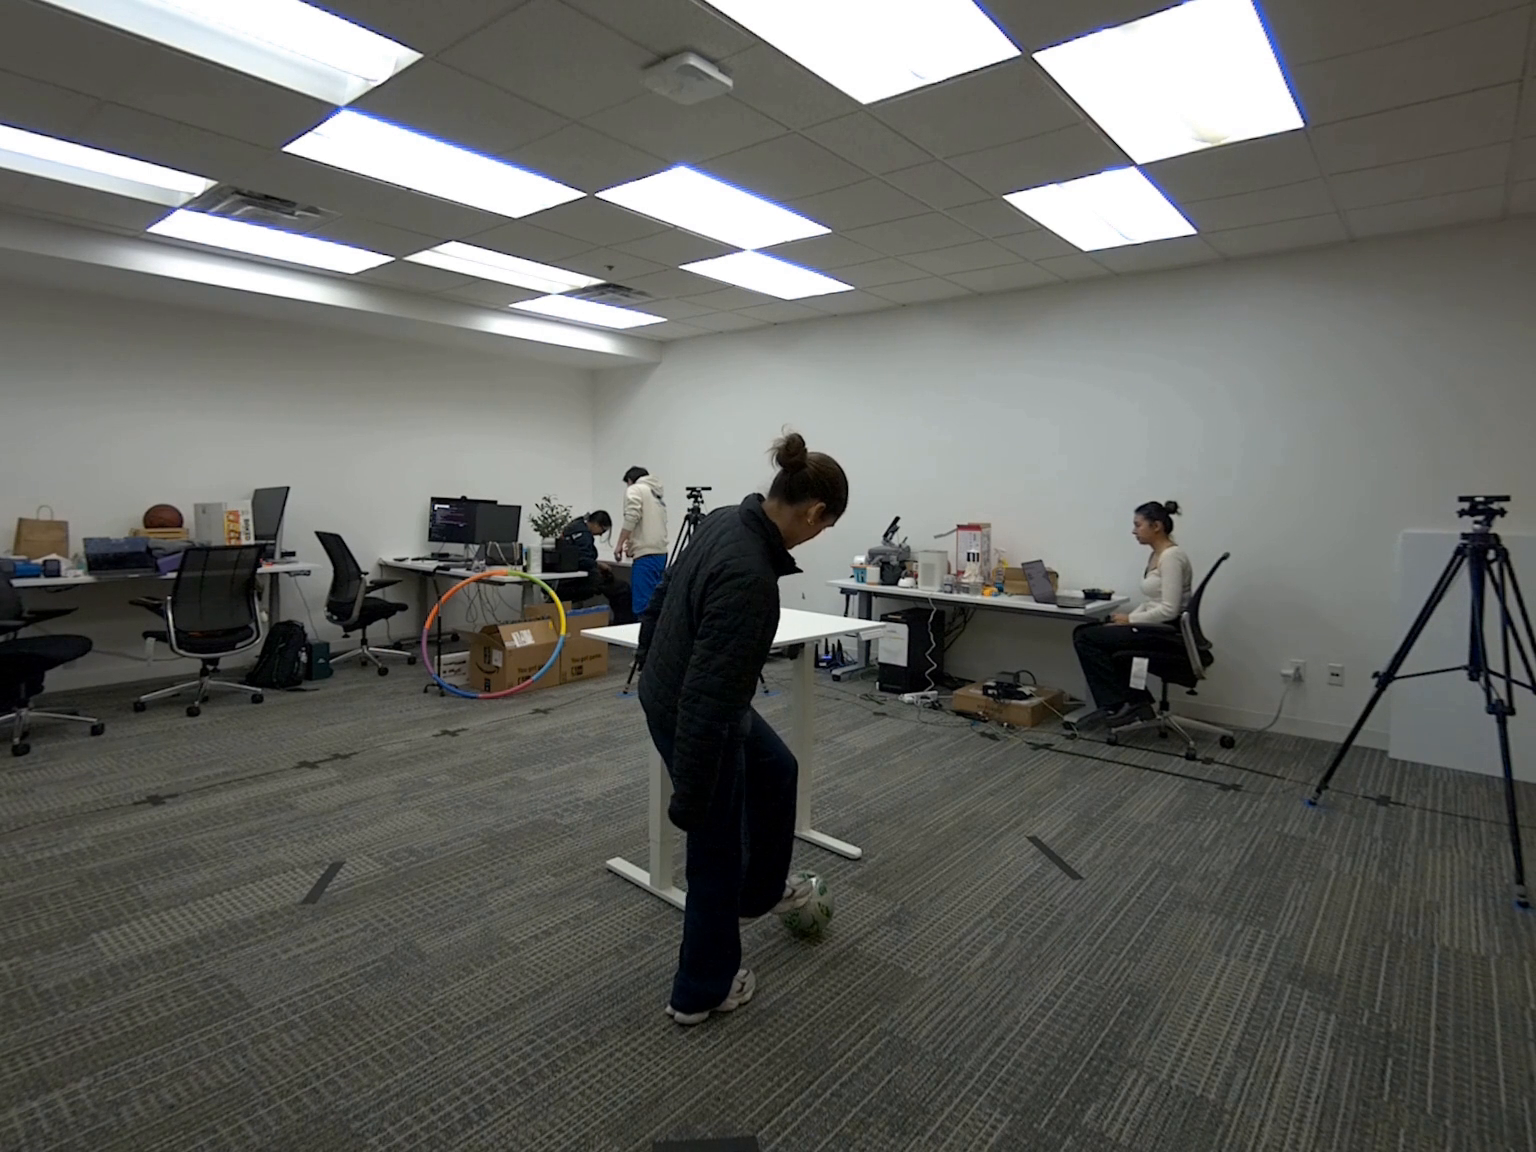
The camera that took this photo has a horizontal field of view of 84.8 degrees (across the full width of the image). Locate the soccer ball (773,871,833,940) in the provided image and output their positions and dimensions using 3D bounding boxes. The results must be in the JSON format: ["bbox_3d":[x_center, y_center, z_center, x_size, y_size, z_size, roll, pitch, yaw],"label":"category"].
[{"bbox_3d":[0.110,1.017,2.669,0.187,0.187,0.188,1,4,-2],"label":"soccer ball"}]
